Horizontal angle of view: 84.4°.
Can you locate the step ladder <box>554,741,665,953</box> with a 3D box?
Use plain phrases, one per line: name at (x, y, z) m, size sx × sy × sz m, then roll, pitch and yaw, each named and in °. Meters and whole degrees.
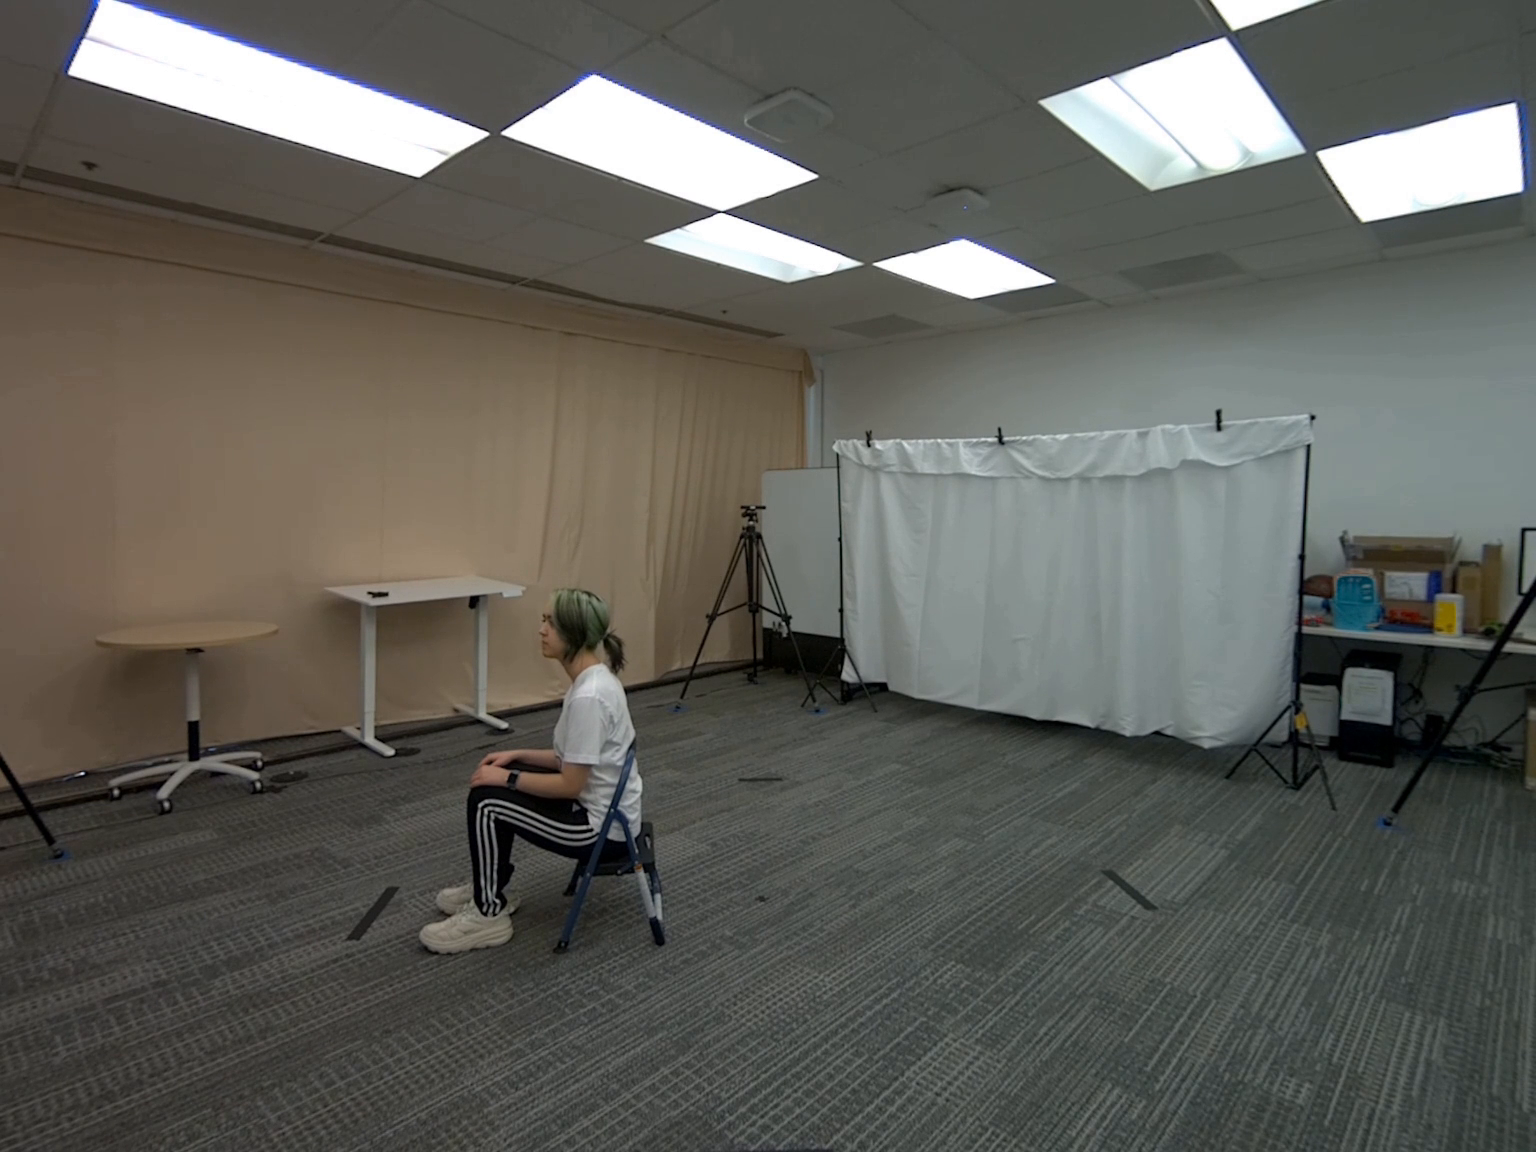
step ladder at (-0.530, 0.866, 2.833) m, size 0.347 × 0.605 × 0.435 m, roll -2°, pitch 3°, yaw -8°
